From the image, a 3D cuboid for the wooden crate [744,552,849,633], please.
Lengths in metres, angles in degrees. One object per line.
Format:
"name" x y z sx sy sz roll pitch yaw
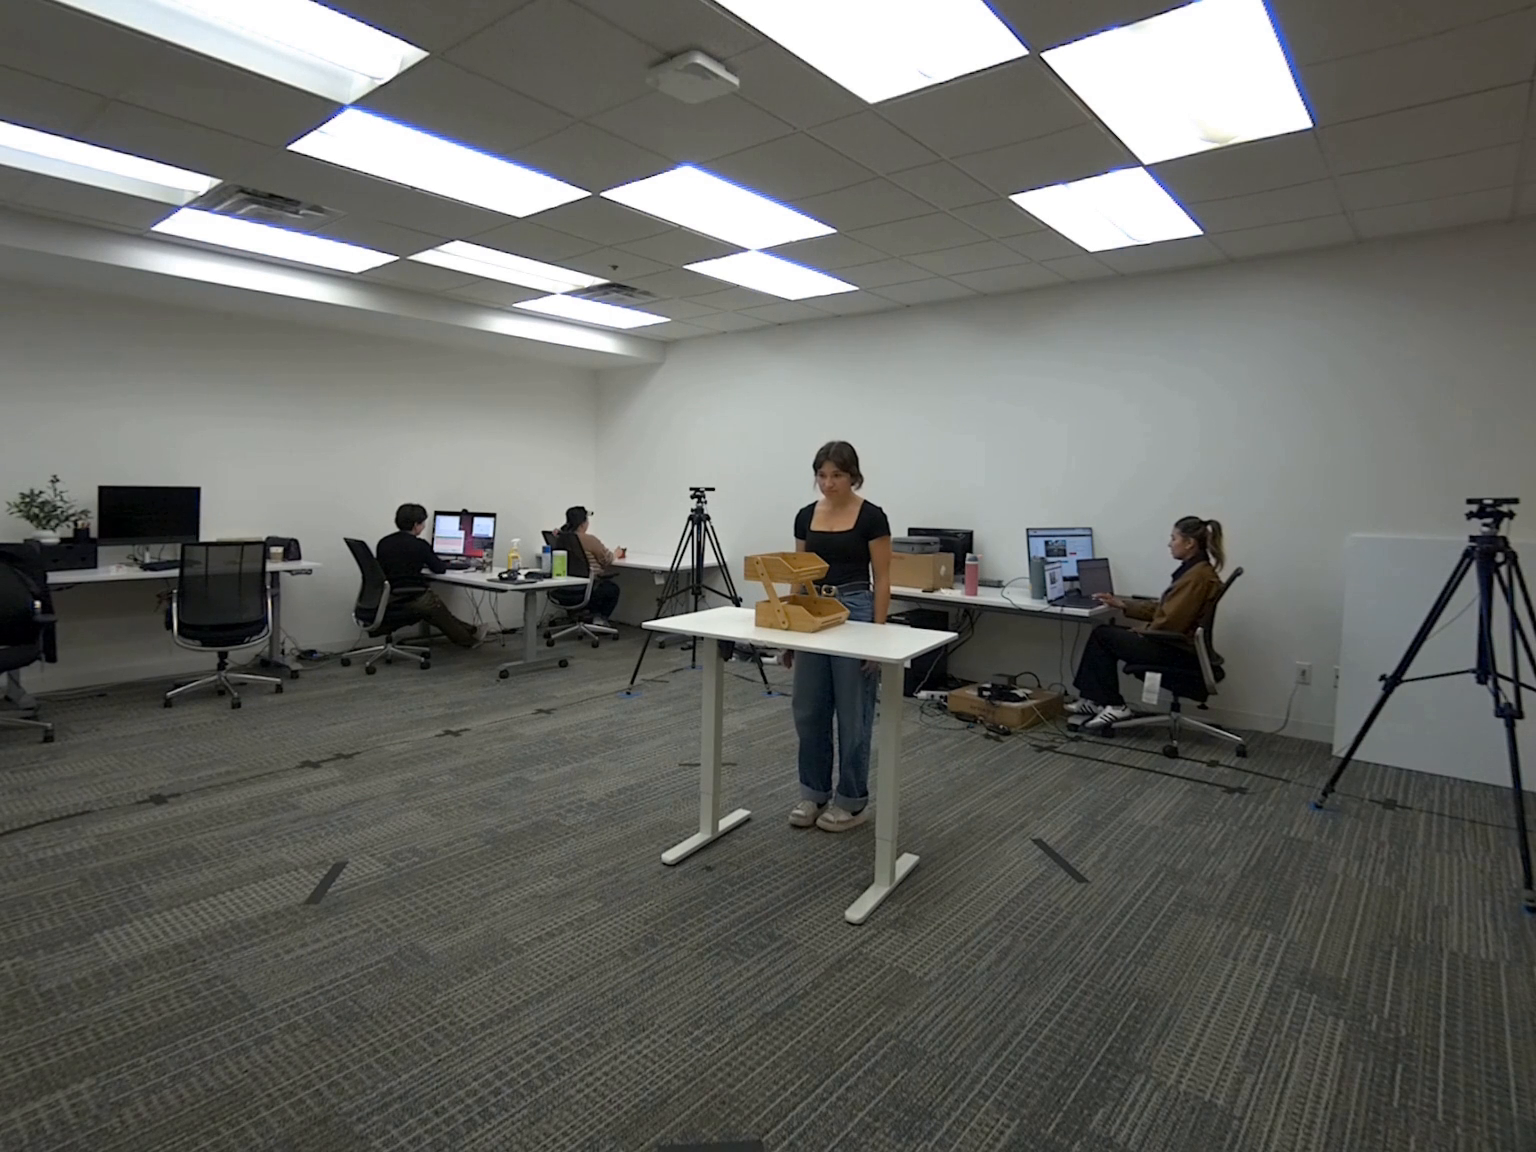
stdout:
"wooden crate" 0.109 0.046 3.214 0.311 0.272 0.316 3 5 30
